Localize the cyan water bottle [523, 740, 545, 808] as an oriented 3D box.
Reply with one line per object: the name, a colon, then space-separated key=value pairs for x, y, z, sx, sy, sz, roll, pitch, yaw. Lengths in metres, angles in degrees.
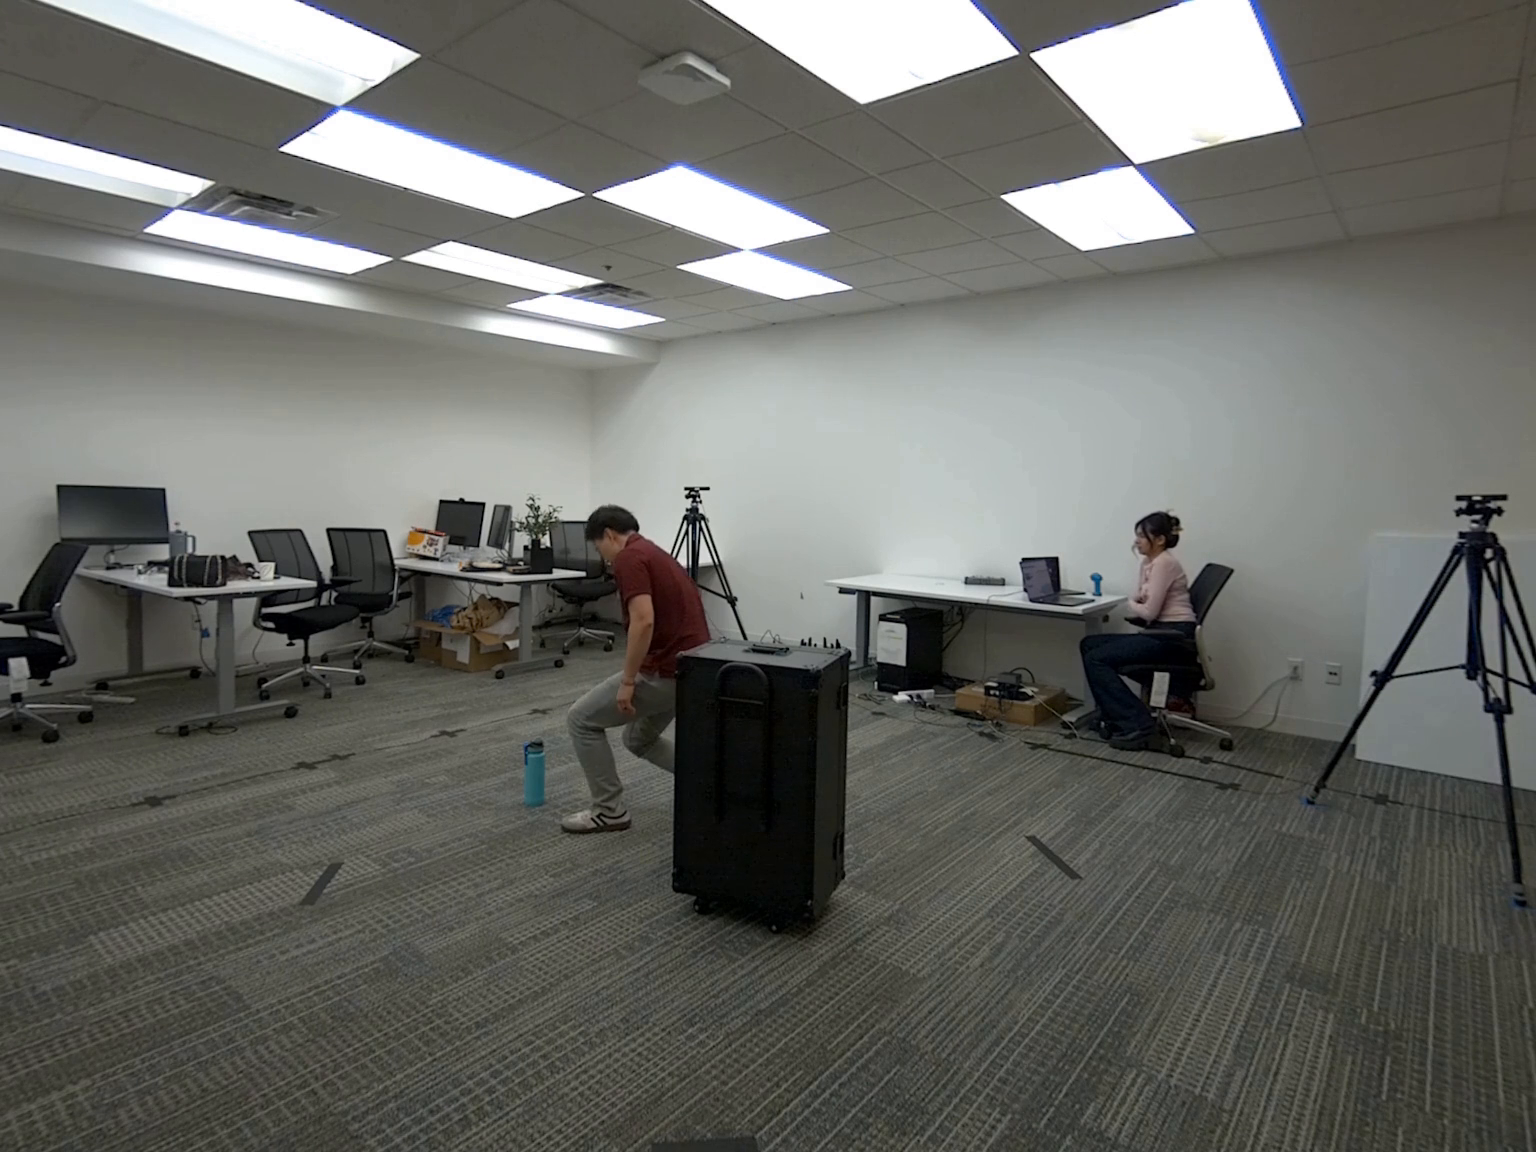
cyan water bottle: x=-1.045 y=0.855 z=3.742 sx=0.092 sy=0.282 sz=0.093 roll=-1 pitch=4 yaw=-2
